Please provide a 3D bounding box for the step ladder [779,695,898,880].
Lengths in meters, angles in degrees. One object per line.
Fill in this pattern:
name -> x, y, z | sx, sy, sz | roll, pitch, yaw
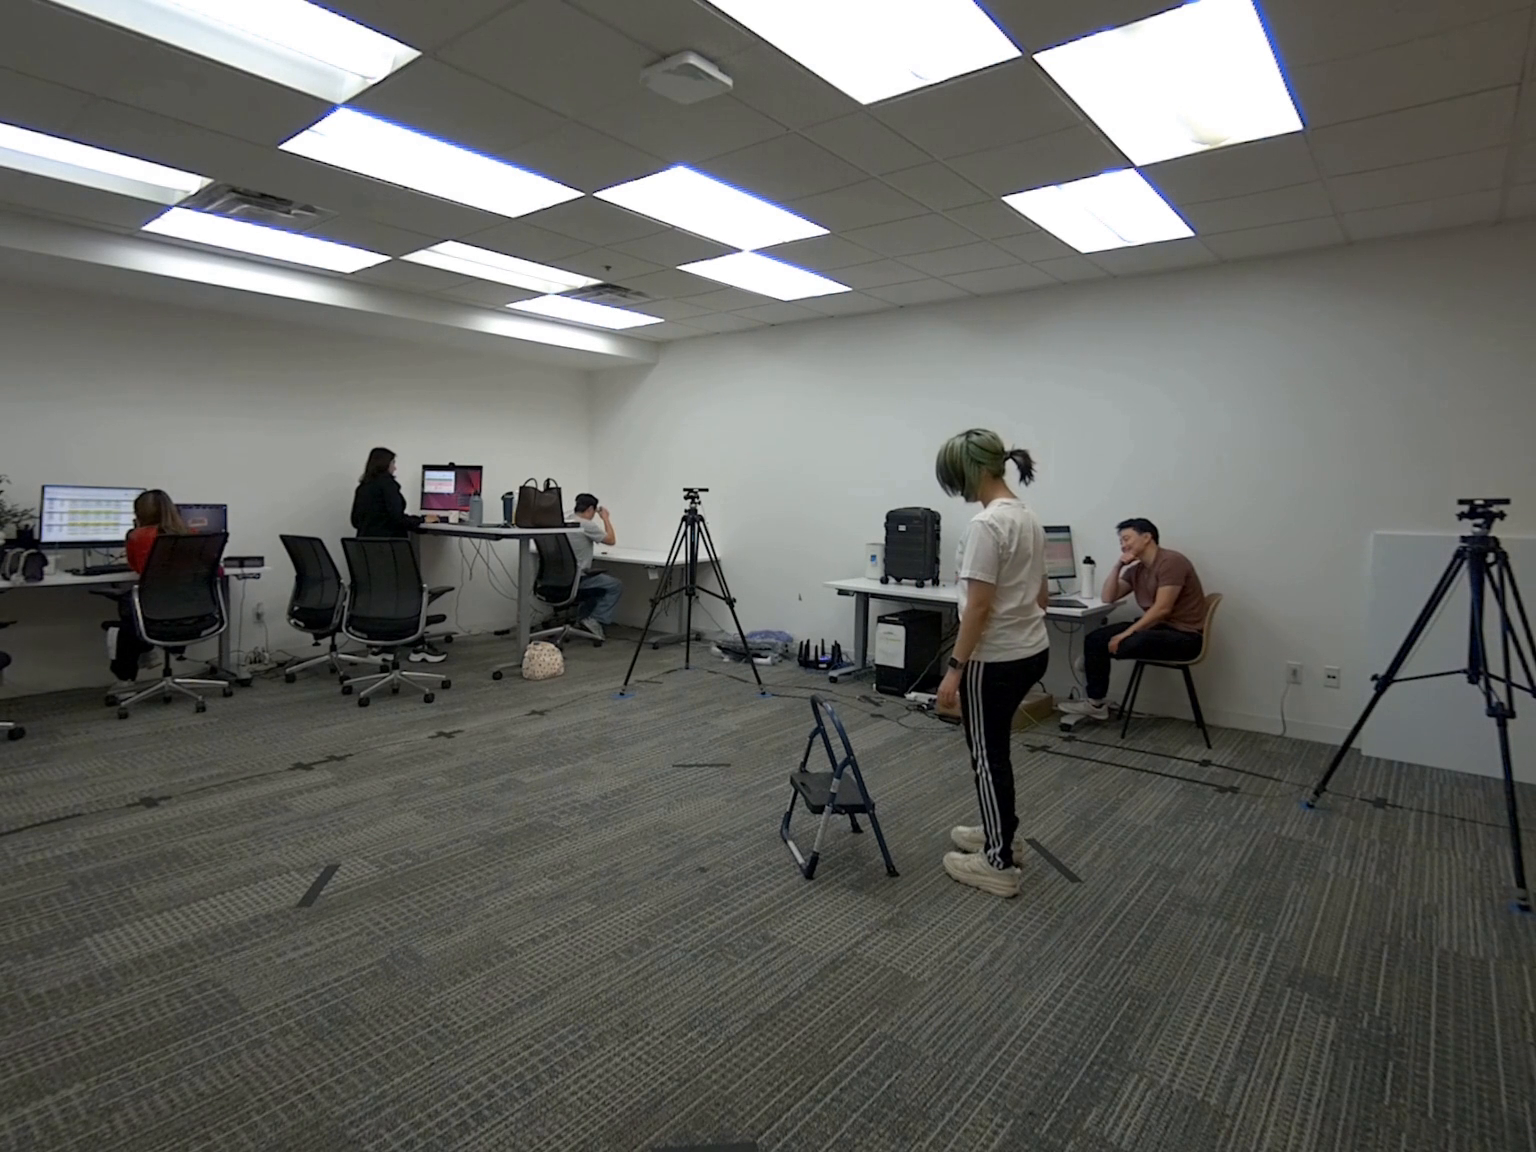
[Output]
step ladder -> 0.259, 0.765, 3.255 | 0.345, 0.604, 0.437 | 1, 4, -12
